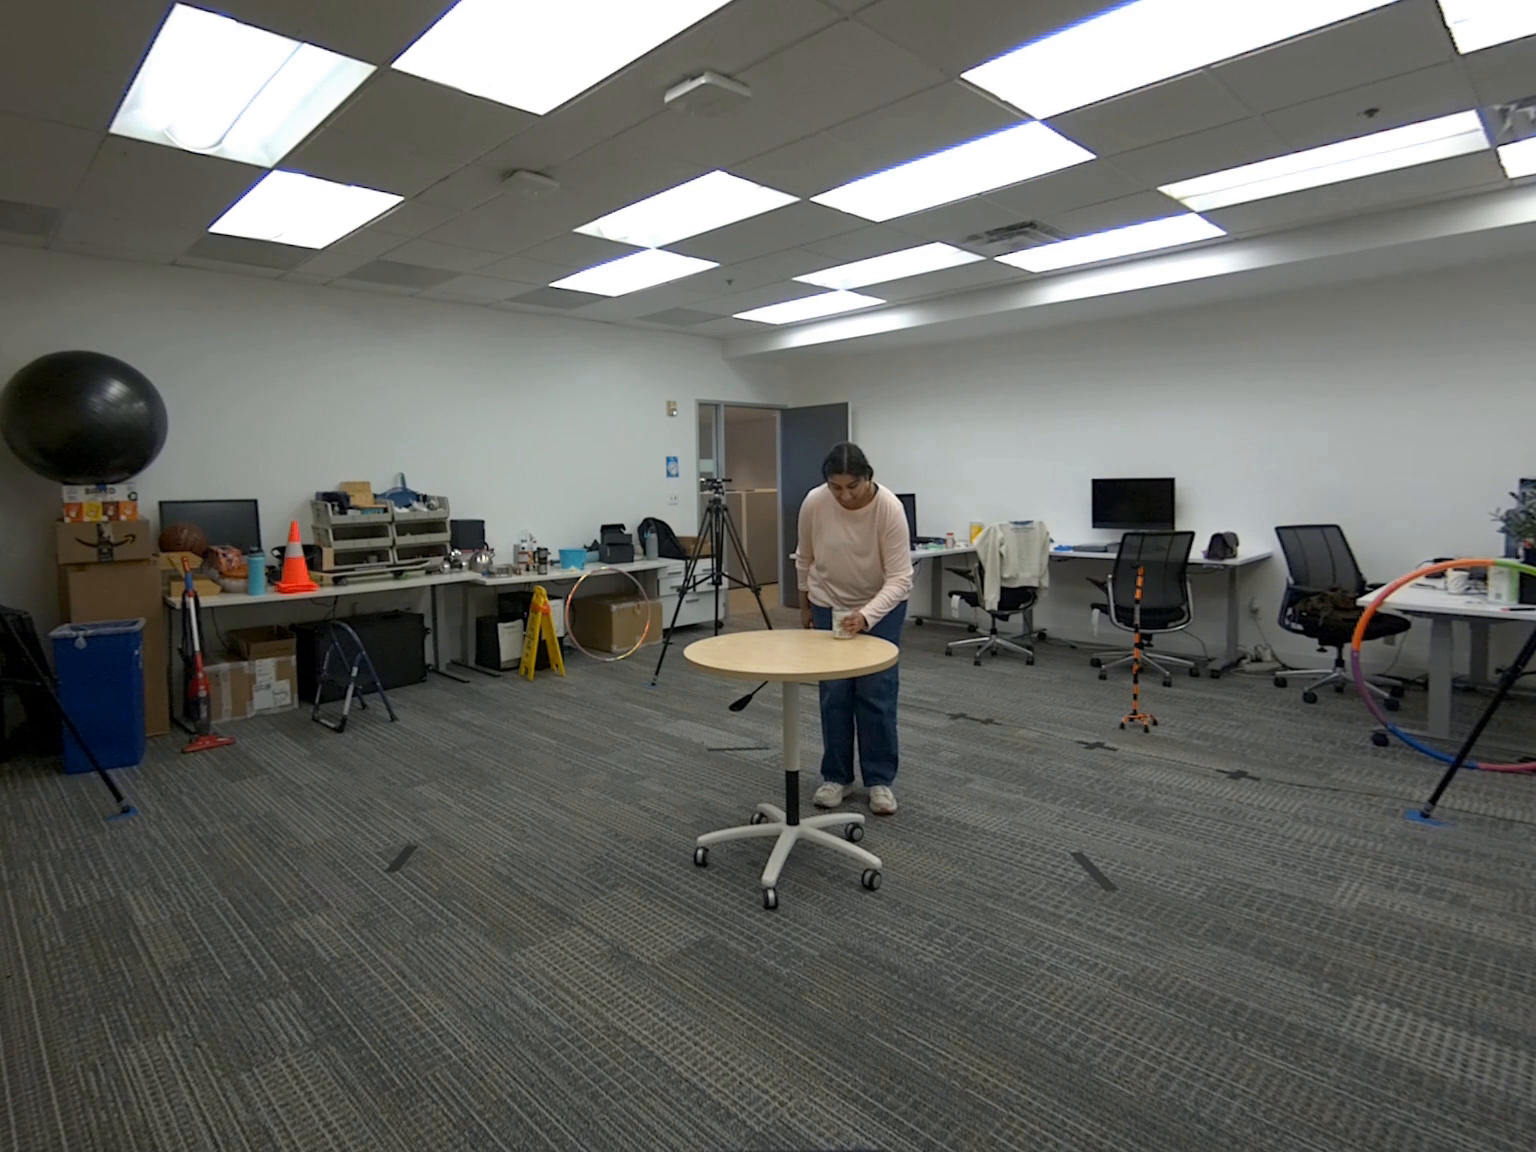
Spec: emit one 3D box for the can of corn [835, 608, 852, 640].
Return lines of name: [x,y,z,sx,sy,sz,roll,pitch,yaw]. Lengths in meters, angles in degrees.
can of corn: [0.330,0.188,3.250,0.074,0.111,0.074,2,2,-2]
